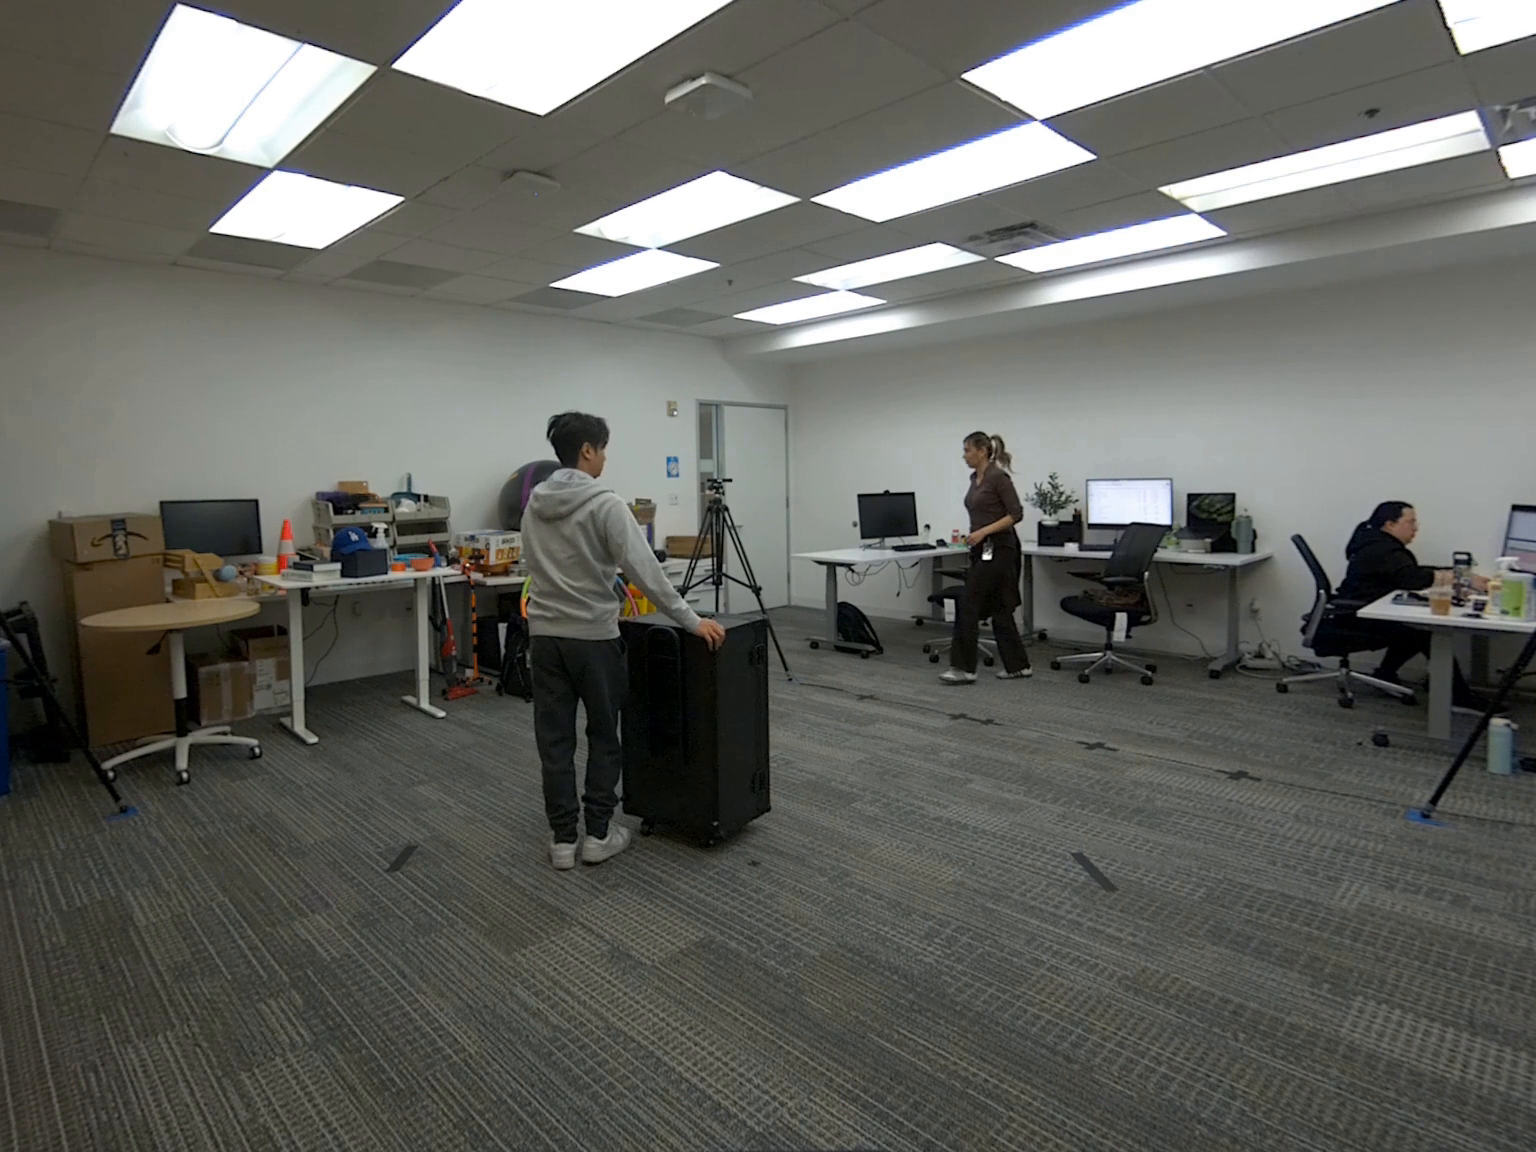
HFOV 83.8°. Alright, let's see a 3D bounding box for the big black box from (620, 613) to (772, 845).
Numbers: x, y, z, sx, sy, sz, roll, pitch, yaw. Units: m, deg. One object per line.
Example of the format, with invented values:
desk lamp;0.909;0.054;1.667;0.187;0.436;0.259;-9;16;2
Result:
big black box;-0.288;0.591;3.391;0.536;0.857;0.387;3;6;34
